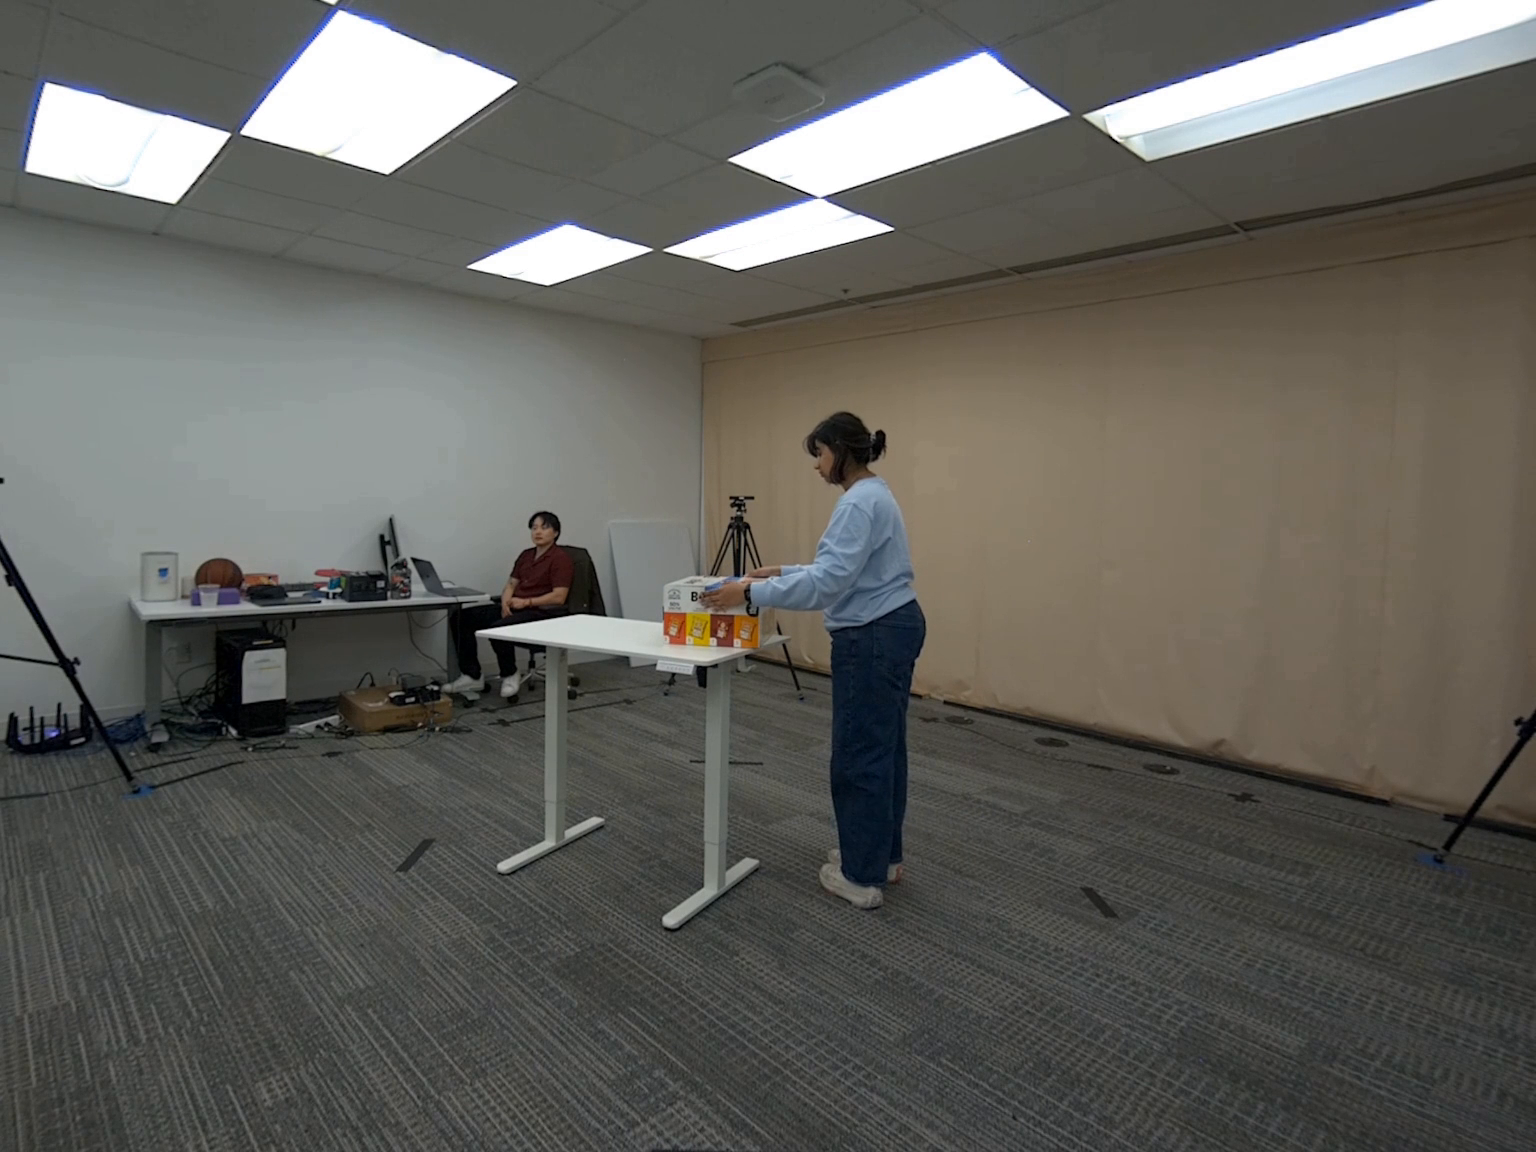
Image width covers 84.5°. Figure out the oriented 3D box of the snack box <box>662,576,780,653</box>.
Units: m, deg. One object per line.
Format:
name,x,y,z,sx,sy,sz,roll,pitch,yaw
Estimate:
snack box,-0.159,0.127,3.053,0.344,0.205,0.402,2,5,11
